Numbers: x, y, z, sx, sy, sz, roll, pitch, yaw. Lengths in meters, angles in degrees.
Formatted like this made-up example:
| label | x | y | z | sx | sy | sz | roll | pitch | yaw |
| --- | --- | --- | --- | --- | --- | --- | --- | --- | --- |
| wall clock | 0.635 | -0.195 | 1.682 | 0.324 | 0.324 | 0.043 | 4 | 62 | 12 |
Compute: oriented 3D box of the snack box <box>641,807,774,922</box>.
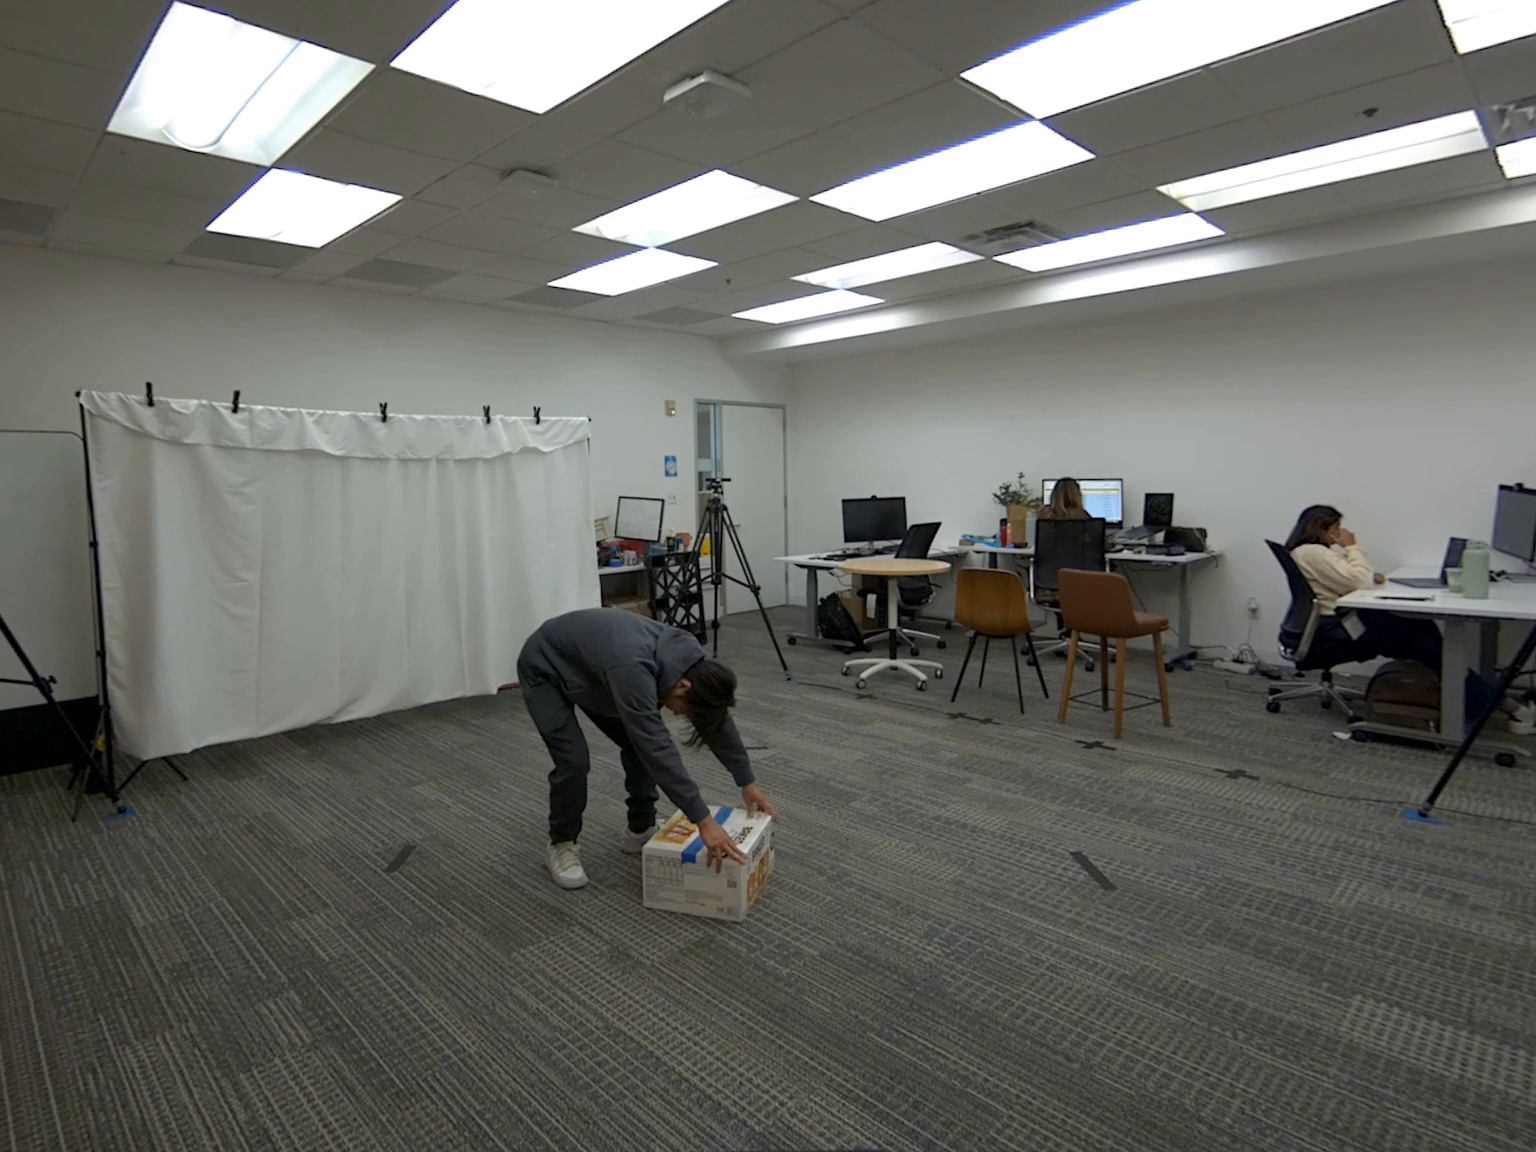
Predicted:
| label | x | y | z | sx | sy | sz | roll | pitch | yaw |
| --- | --- | --- | --- | --- | --- | --- | --- | --- | --- |
| snack box | -0.189 | 0.967 | 2.922 | 0.346 | 0.205 | 0.400 | 0 | 6 | 17 |
